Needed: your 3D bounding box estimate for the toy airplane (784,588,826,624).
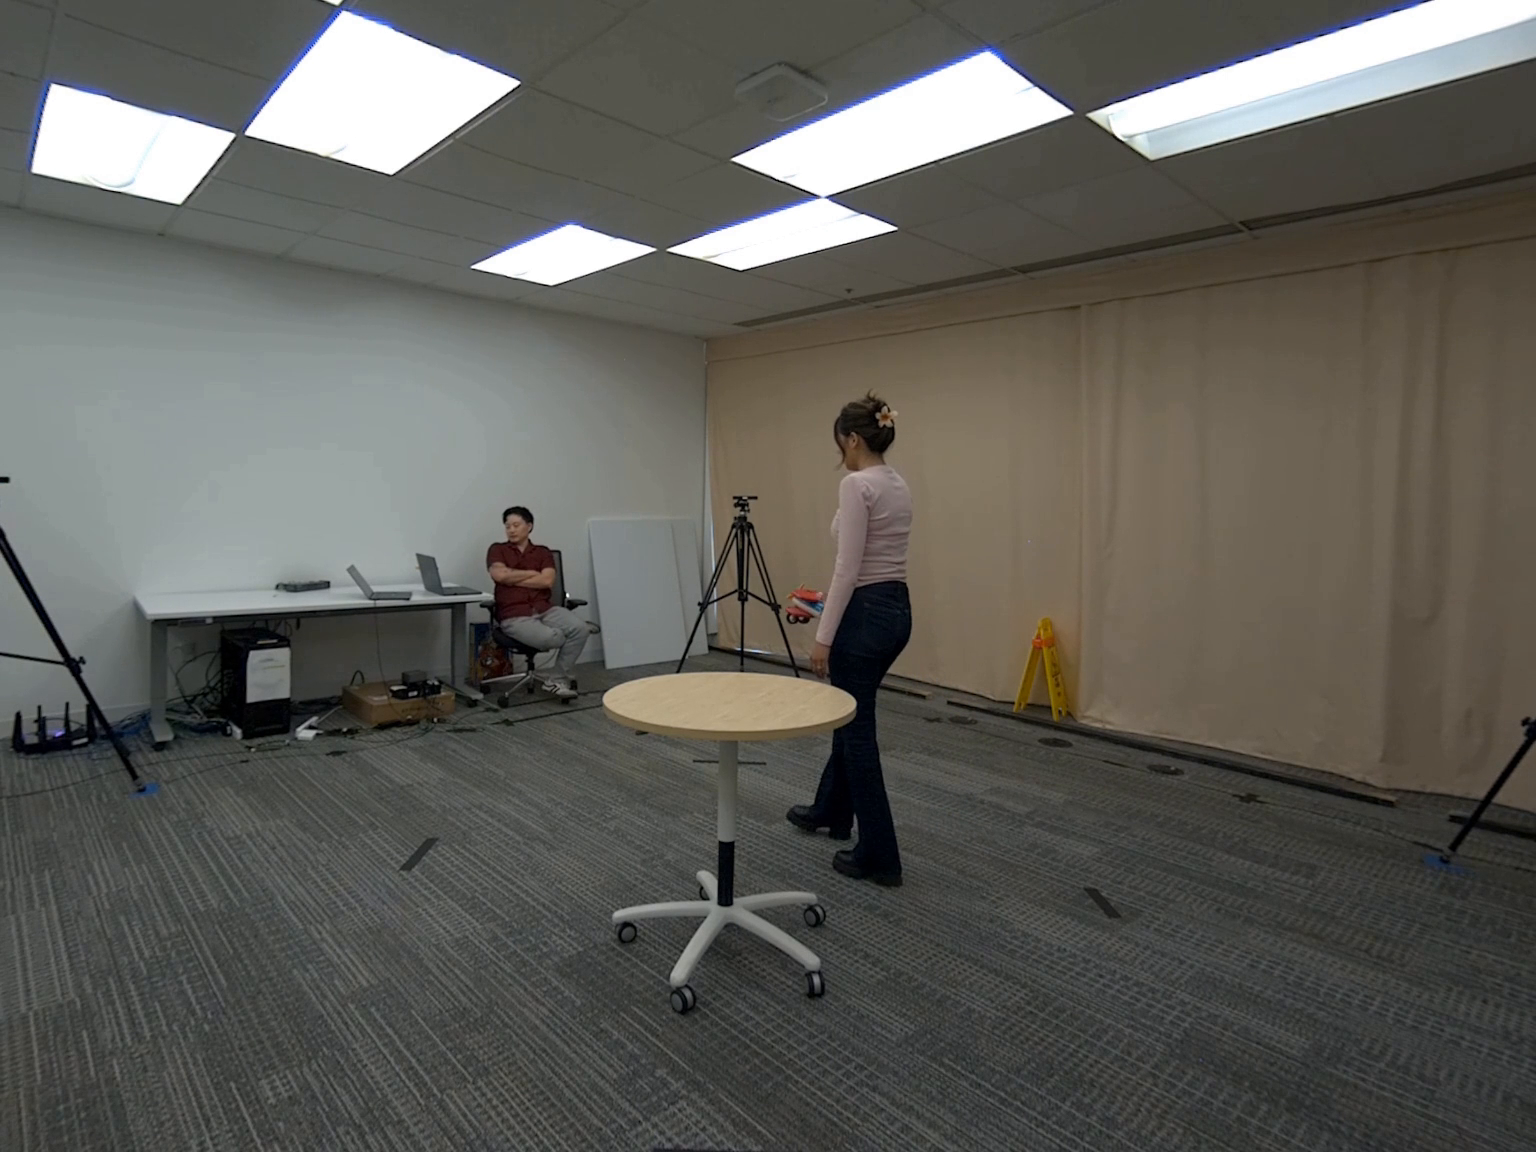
[{"bbox_3d":[0.212,0.144,3.647,0.261,0.156,0.249,6,0,10],"label":"toy airplane"}]
